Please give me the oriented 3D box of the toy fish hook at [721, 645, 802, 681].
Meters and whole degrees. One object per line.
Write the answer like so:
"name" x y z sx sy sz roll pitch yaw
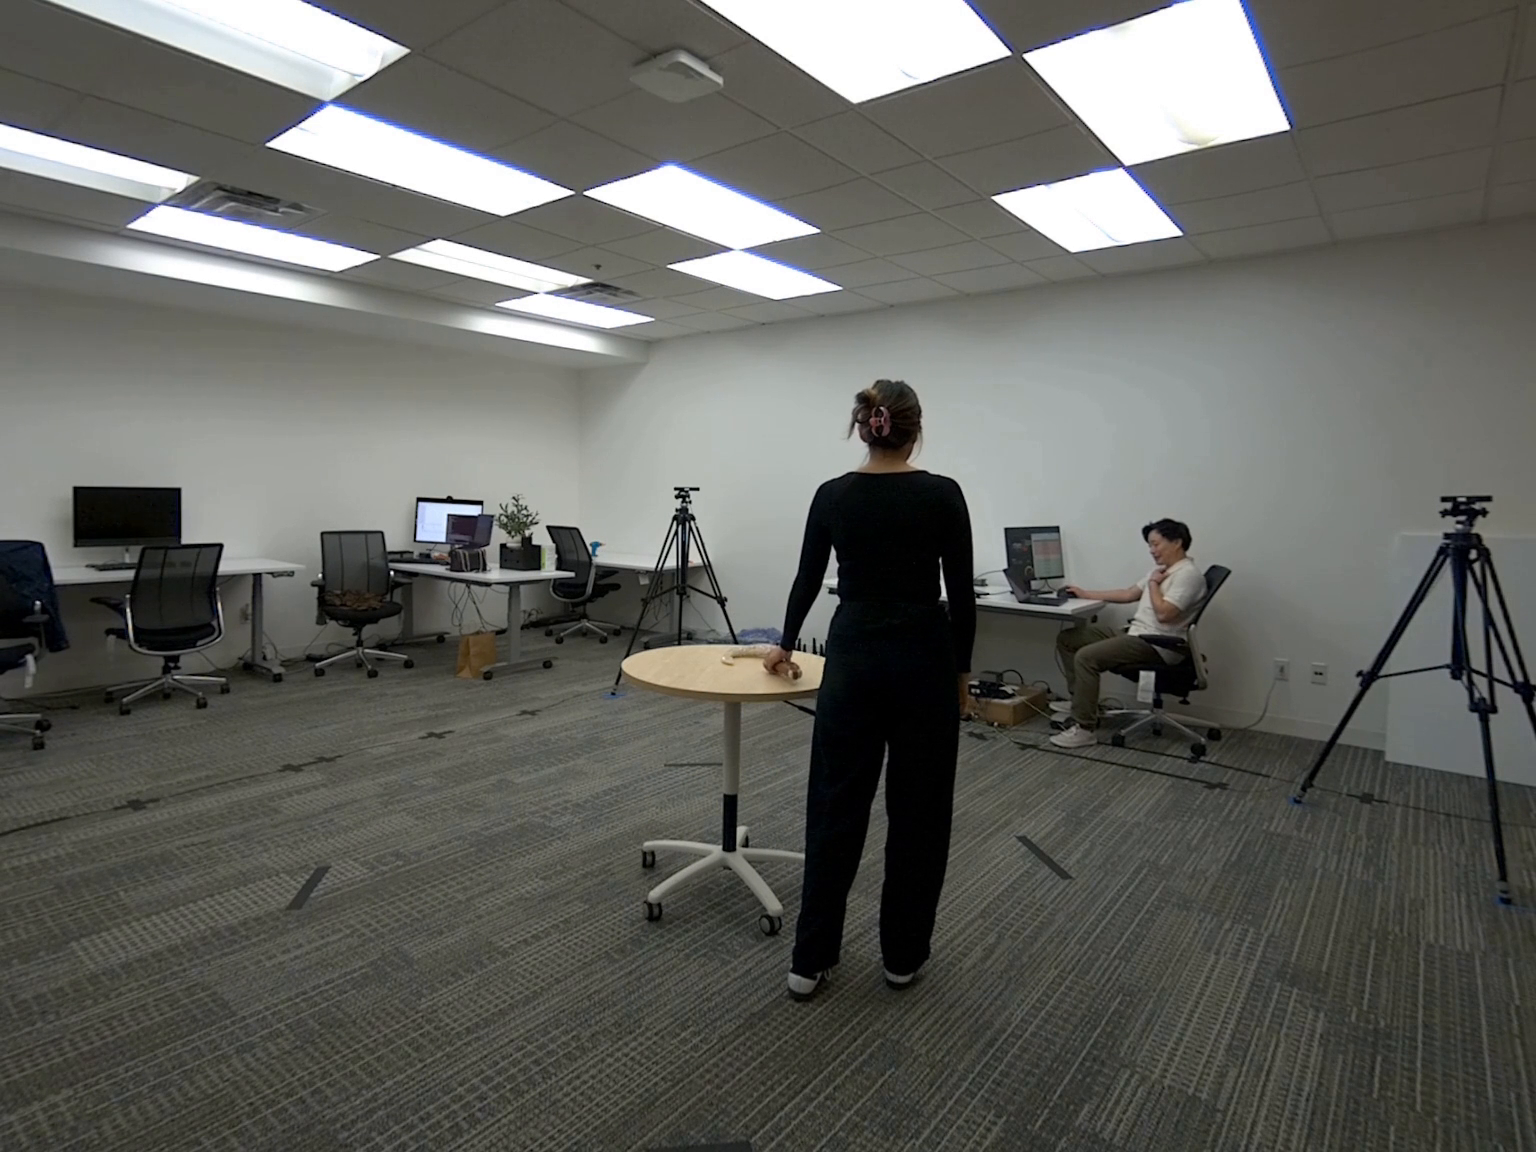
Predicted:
"toy fish hook" -0.029 0.291 2.861 0.222 0.048 0.514 -10 6 -12
